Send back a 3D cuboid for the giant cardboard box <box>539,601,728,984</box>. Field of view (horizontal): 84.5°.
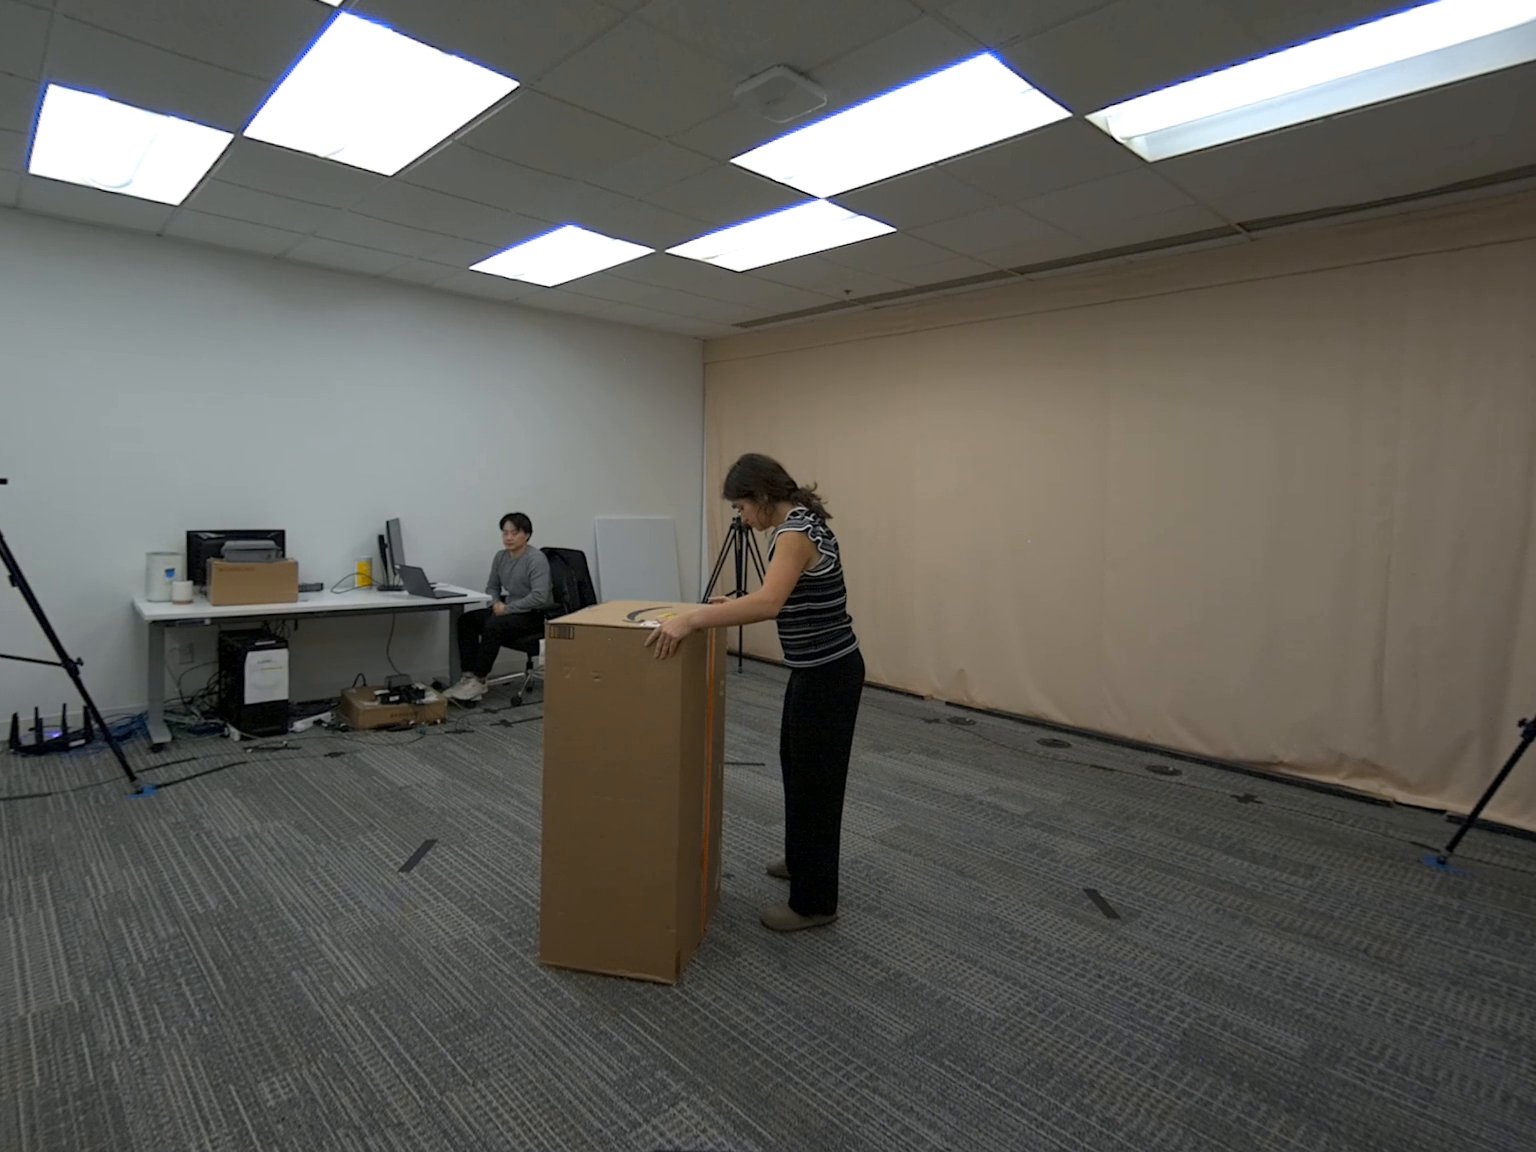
[{"bbox_3d":[-0.412,0.634,2.686,0.430,1.024,0.573,2,3,11],"label":"giant cardboard box"}]
